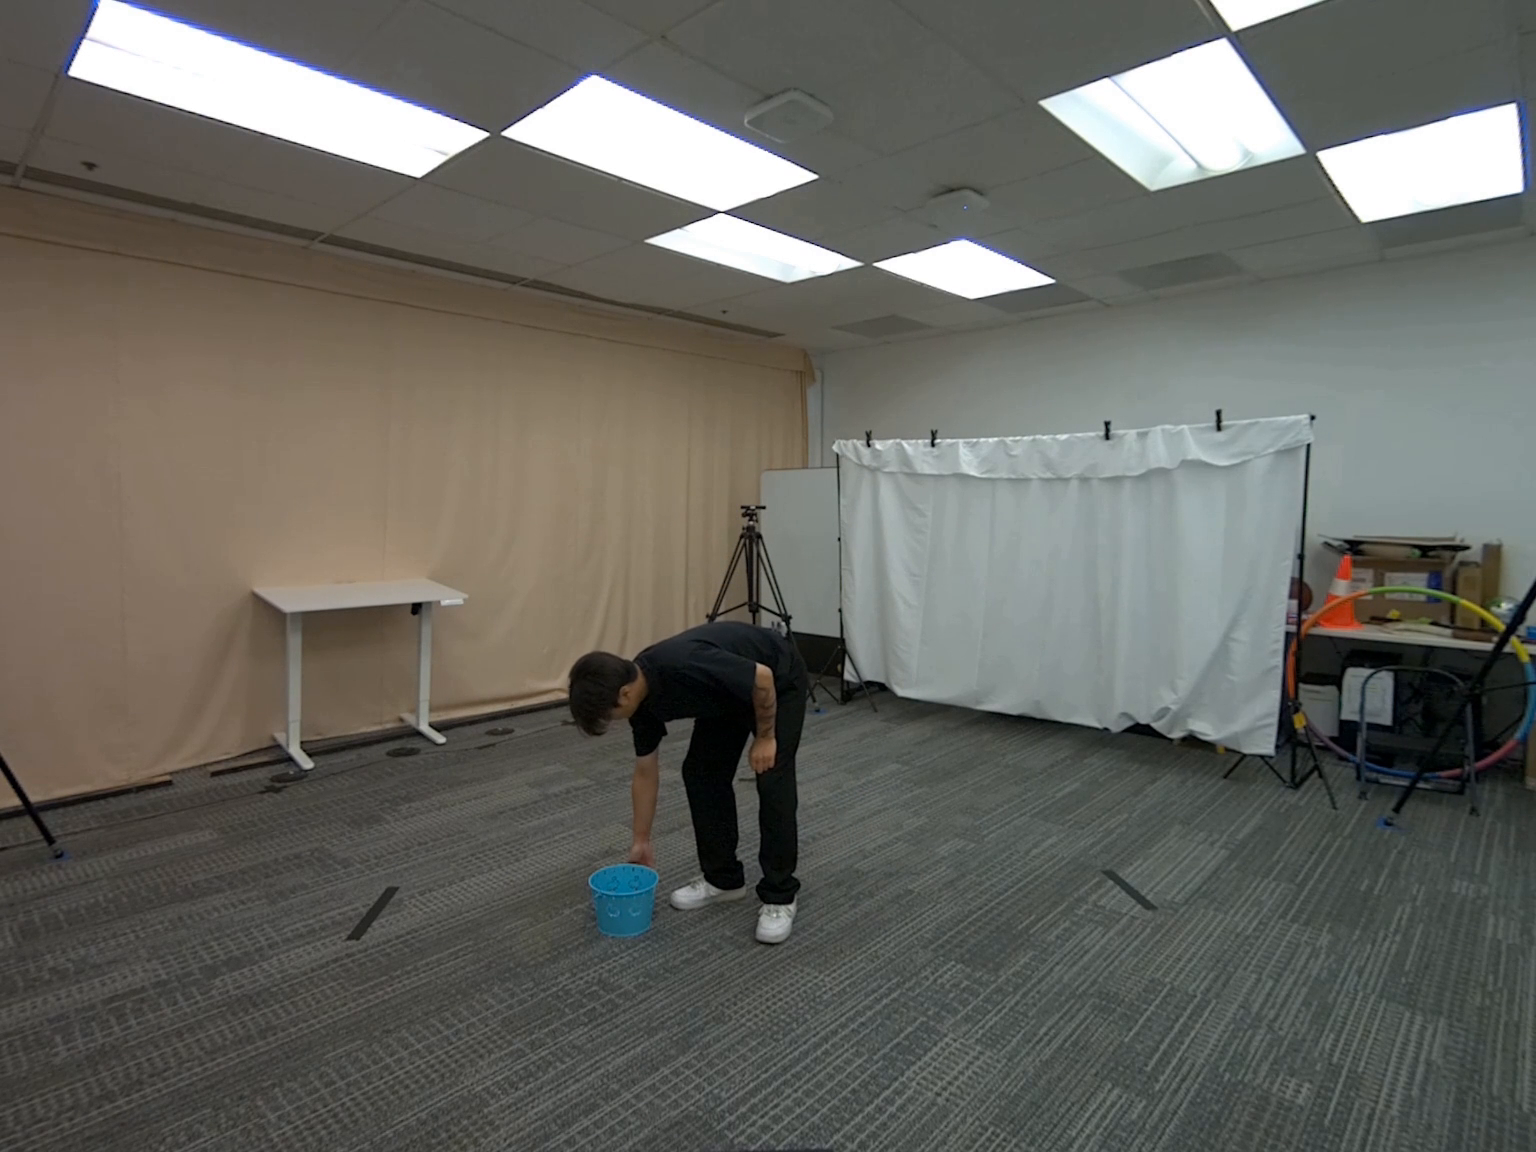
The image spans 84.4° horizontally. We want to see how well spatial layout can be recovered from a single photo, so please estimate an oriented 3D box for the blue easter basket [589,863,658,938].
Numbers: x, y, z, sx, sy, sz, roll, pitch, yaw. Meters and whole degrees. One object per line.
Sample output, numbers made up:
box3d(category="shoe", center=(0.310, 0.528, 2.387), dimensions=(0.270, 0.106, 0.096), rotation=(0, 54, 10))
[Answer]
box3d(category="blue easter basket", center=(-0.484, 1.085, 2.817), dimensions=(0.243, 0.155, 0.244), rotation=(0, 4, -2))
